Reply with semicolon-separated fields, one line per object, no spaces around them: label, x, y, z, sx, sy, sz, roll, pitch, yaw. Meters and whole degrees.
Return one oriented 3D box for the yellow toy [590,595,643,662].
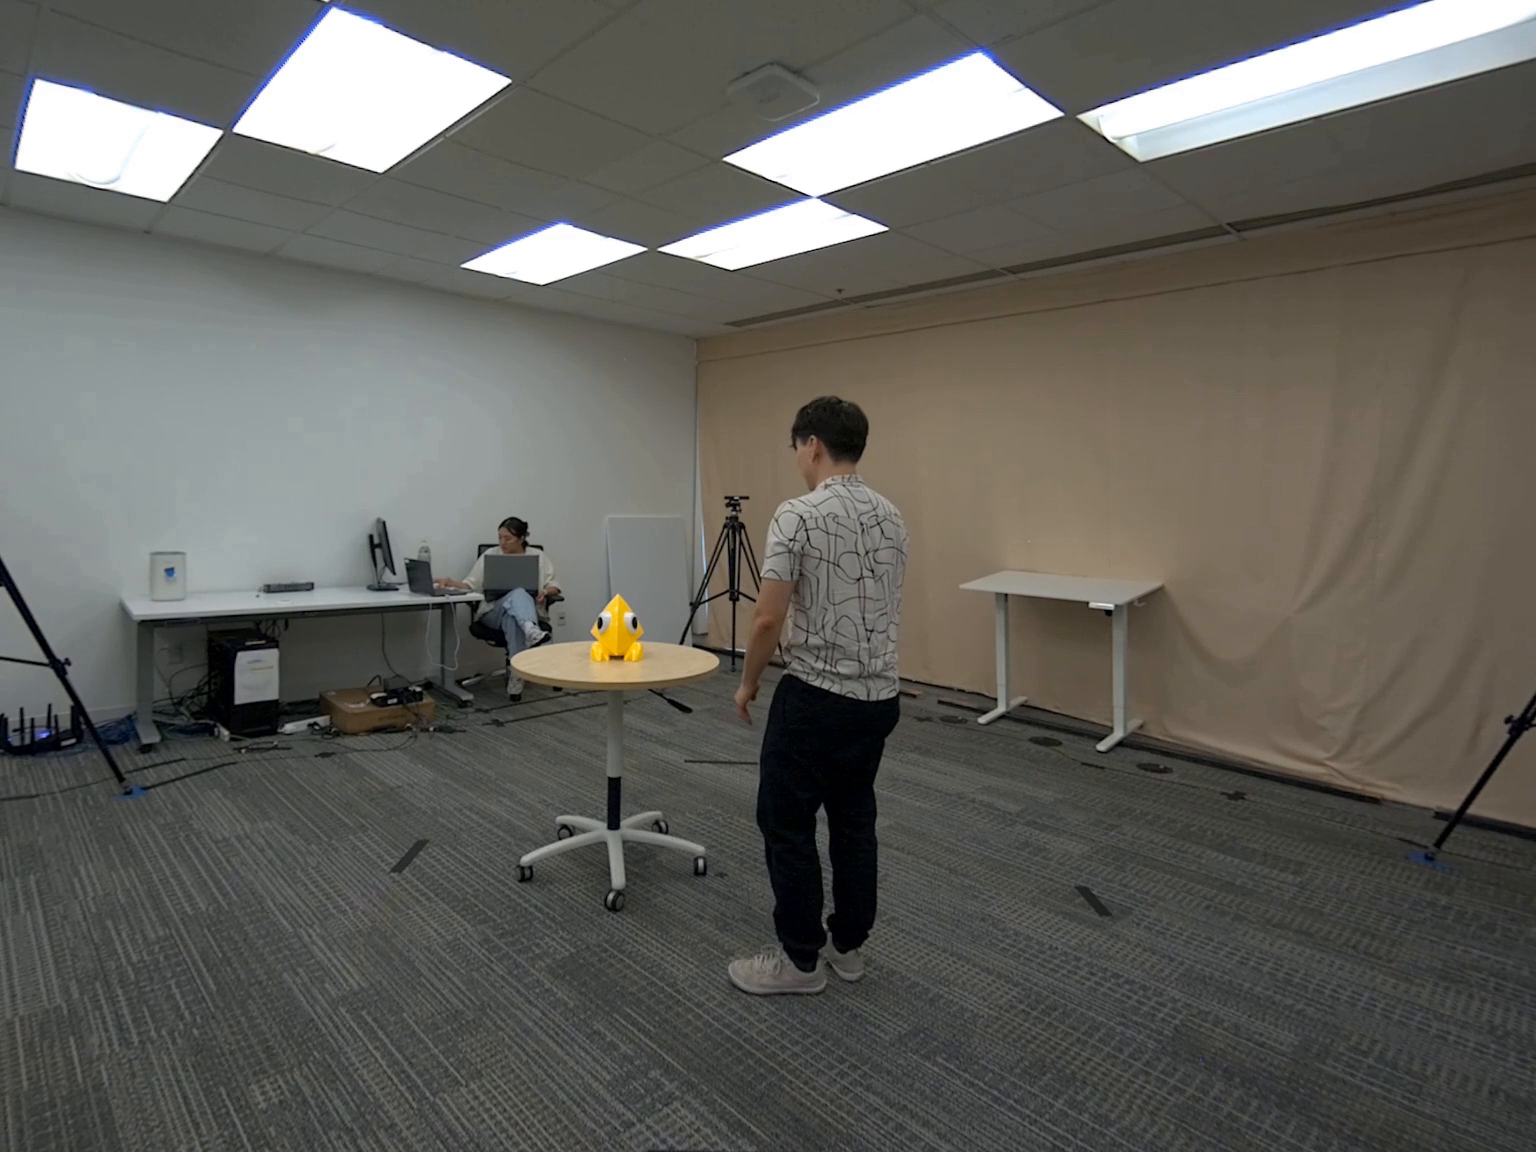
yellow toy;-0.571;0.190;3.162;0.203;0.230;0.195;1;4;-9
